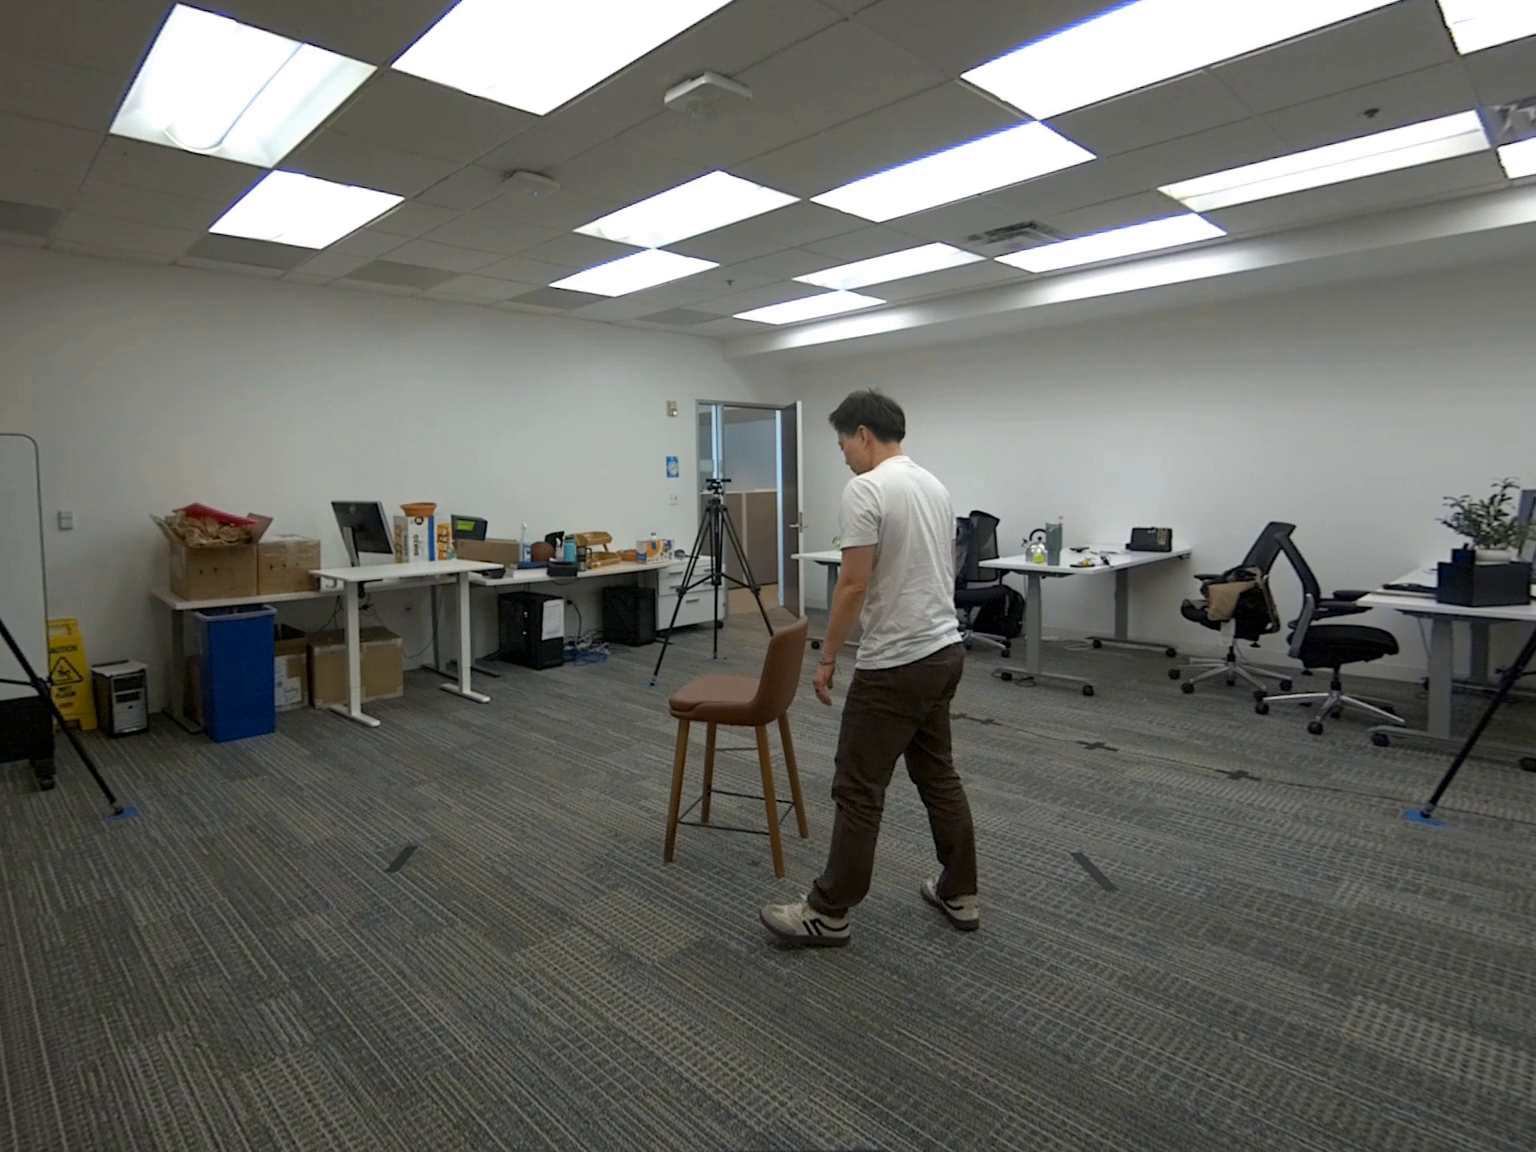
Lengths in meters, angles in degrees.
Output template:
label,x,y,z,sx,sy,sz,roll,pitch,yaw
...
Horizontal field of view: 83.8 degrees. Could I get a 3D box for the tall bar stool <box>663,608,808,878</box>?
label,x,y,z,sx,sy,sz,roll,pitch,yaw
tall bar stool,-0.109,0.600,3.210,0.477,0.886,0.449,3,5,20
